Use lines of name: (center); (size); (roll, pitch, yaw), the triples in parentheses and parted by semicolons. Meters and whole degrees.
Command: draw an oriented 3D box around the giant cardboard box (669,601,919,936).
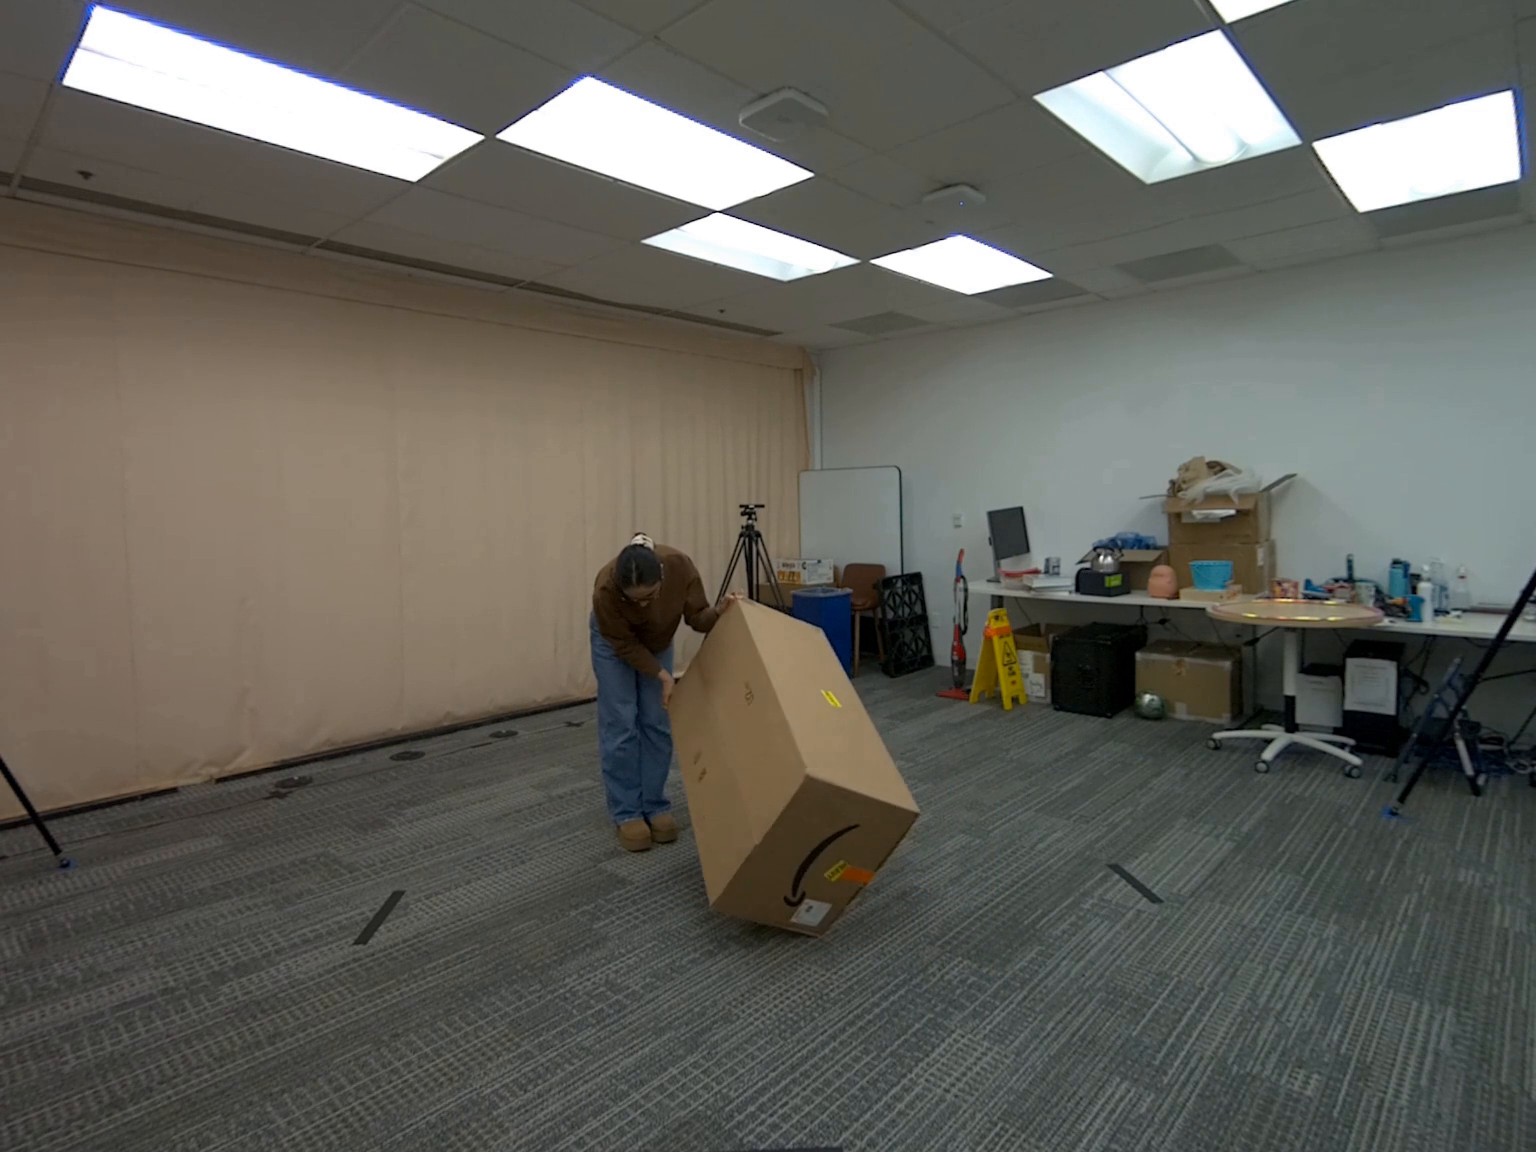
giant cardboard box: (0.029, 0.620, 2.986); (0.434, 0.584, 1.055); (24, 20, -26)
